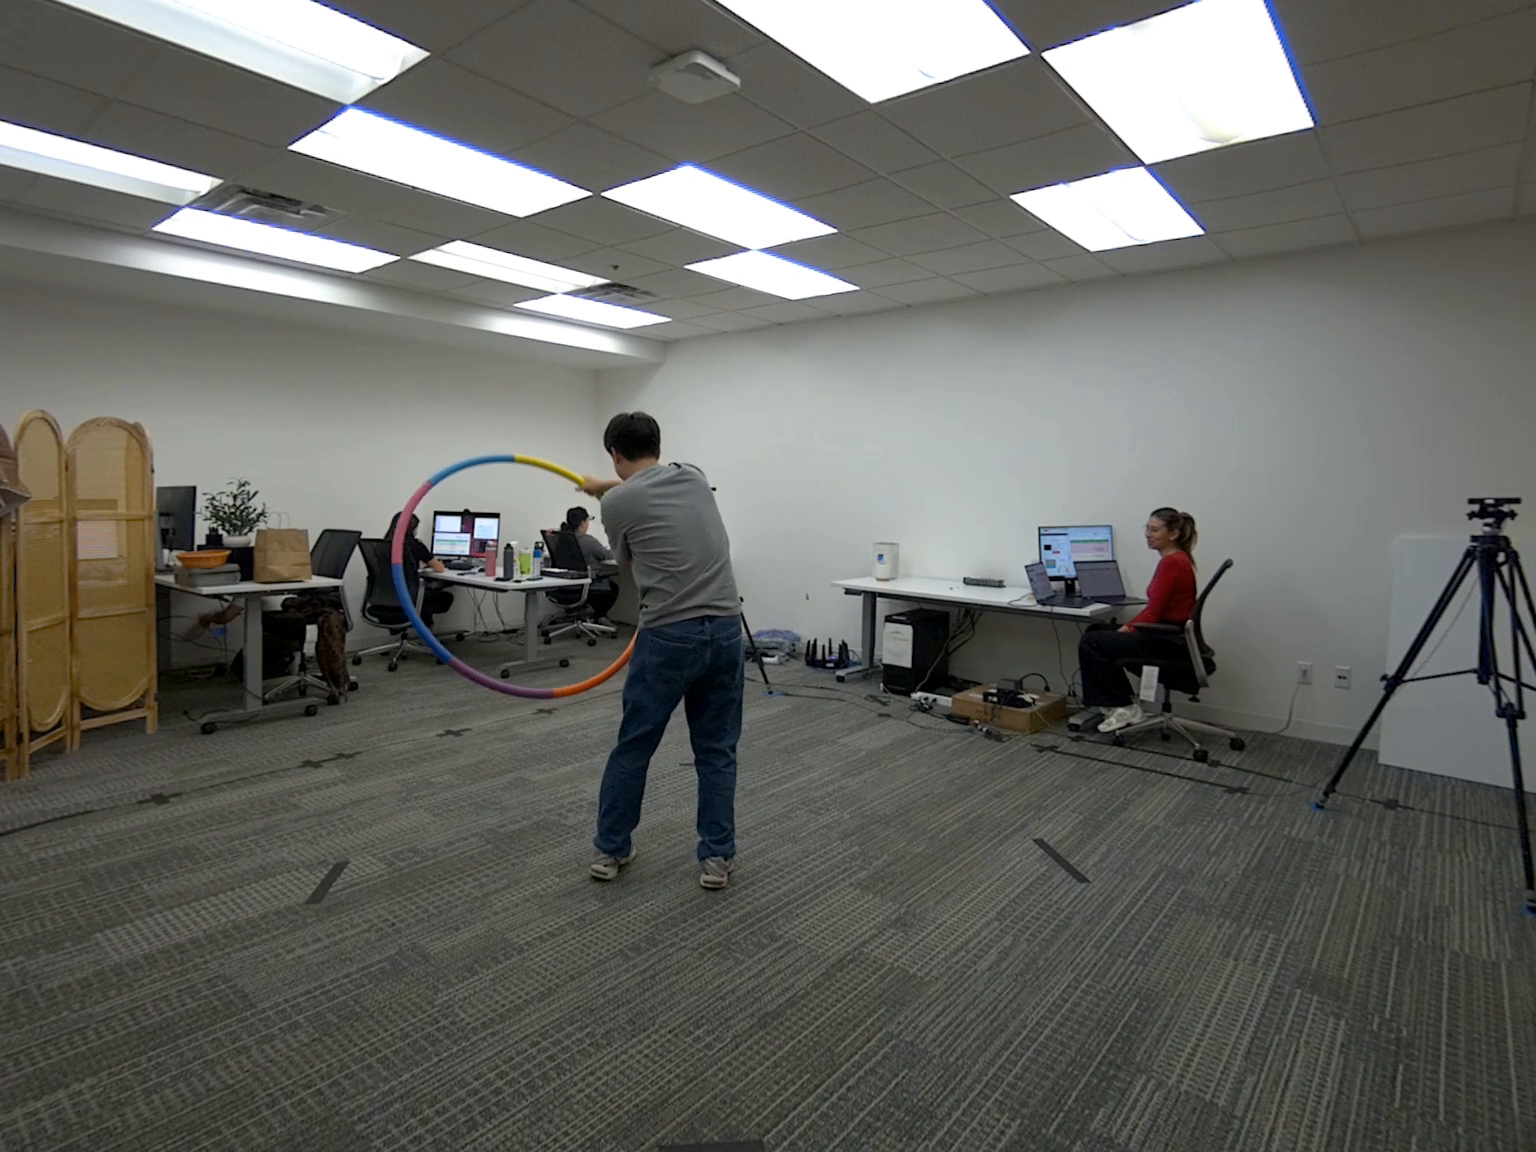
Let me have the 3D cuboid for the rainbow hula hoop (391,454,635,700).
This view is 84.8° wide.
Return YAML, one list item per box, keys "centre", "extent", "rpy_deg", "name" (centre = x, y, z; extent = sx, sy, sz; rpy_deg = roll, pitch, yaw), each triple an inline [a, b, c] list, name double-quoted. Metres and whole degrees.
- centre: [-0.859, -0.023, 3.125]
  extent: [0.950, 1.005, 0.035]
  rpy_deg: [-3, -27, -36]
  name: "rainbow hula hoop"
